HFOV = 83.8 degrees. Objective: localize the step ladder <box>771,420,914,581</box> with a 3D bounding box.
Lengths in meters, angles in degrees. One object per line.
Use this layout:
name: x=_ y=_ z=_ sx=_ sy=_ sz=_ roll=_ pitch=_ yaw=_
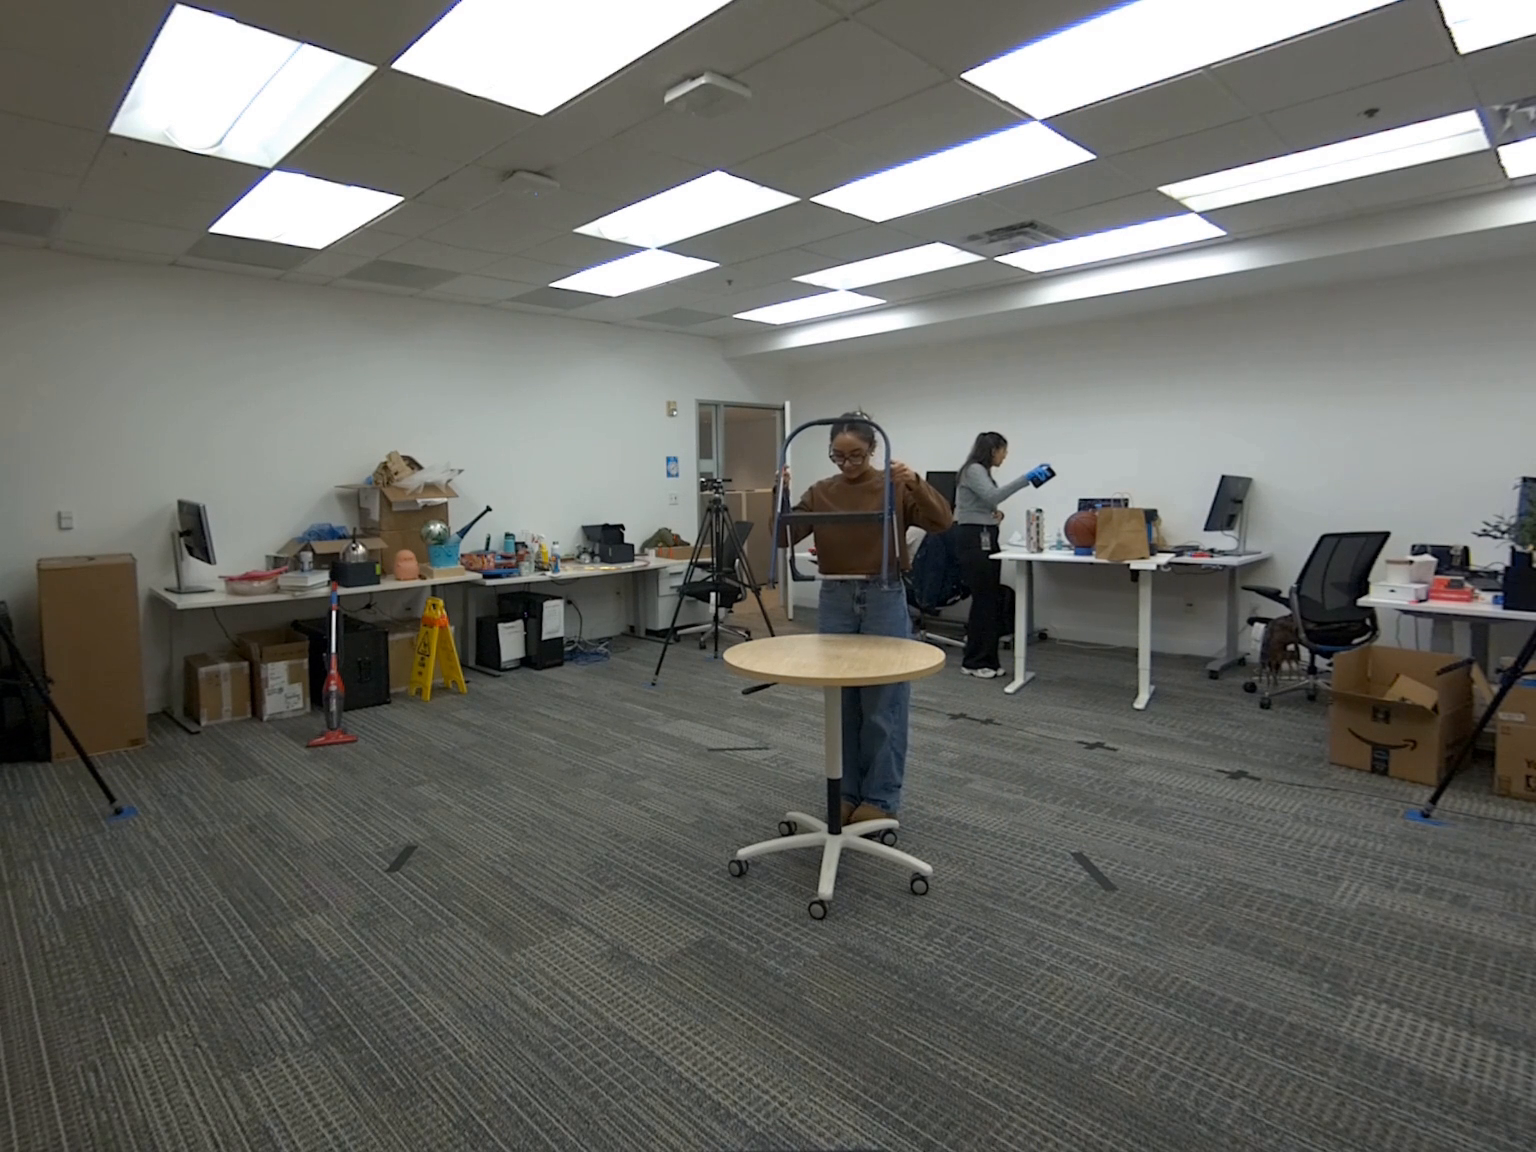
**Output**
step ladder: x=0.244 y=-0.273 z=3.083 sx=0.438 sy=0.605 sz=0.343 roll=-1 pitch=1 yaw=19
